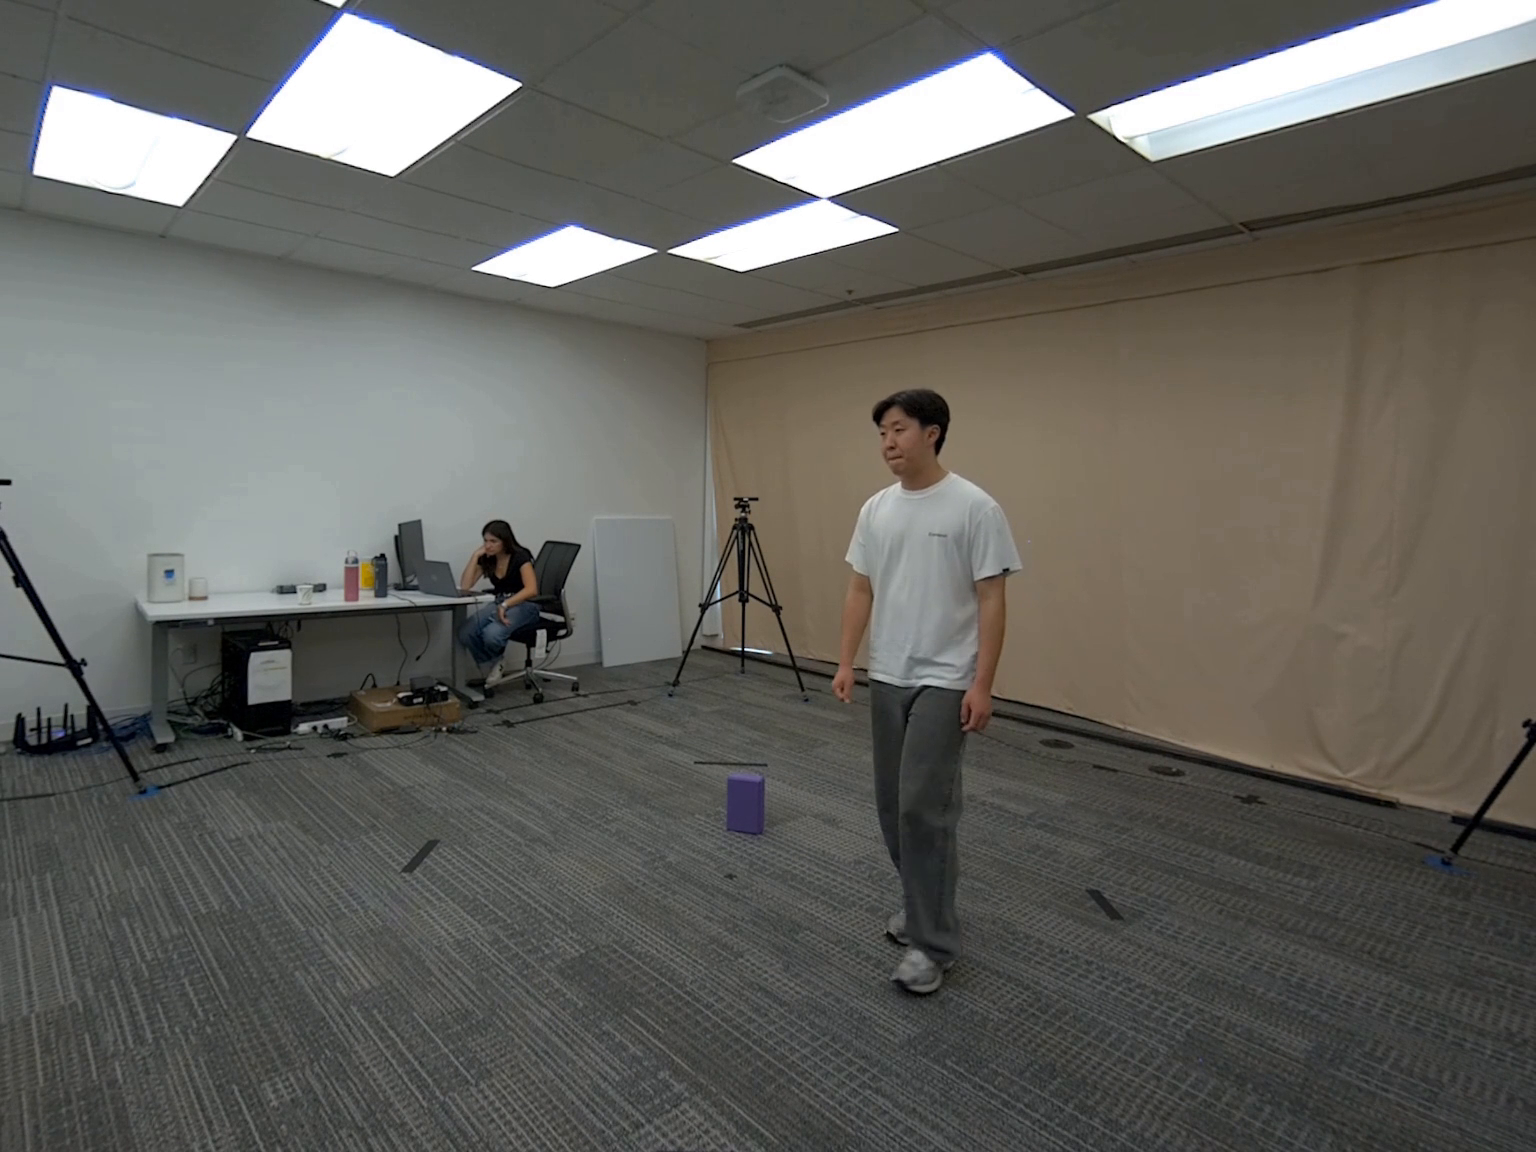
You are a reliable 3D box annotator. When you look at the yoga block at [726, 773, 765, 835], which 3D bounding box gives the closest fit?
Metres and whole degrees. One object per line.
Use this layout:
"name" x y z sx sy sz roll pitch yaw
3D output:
"yoga block" -0.105 0.959 3.539 0.151 0.229 0.075 2 2 18
